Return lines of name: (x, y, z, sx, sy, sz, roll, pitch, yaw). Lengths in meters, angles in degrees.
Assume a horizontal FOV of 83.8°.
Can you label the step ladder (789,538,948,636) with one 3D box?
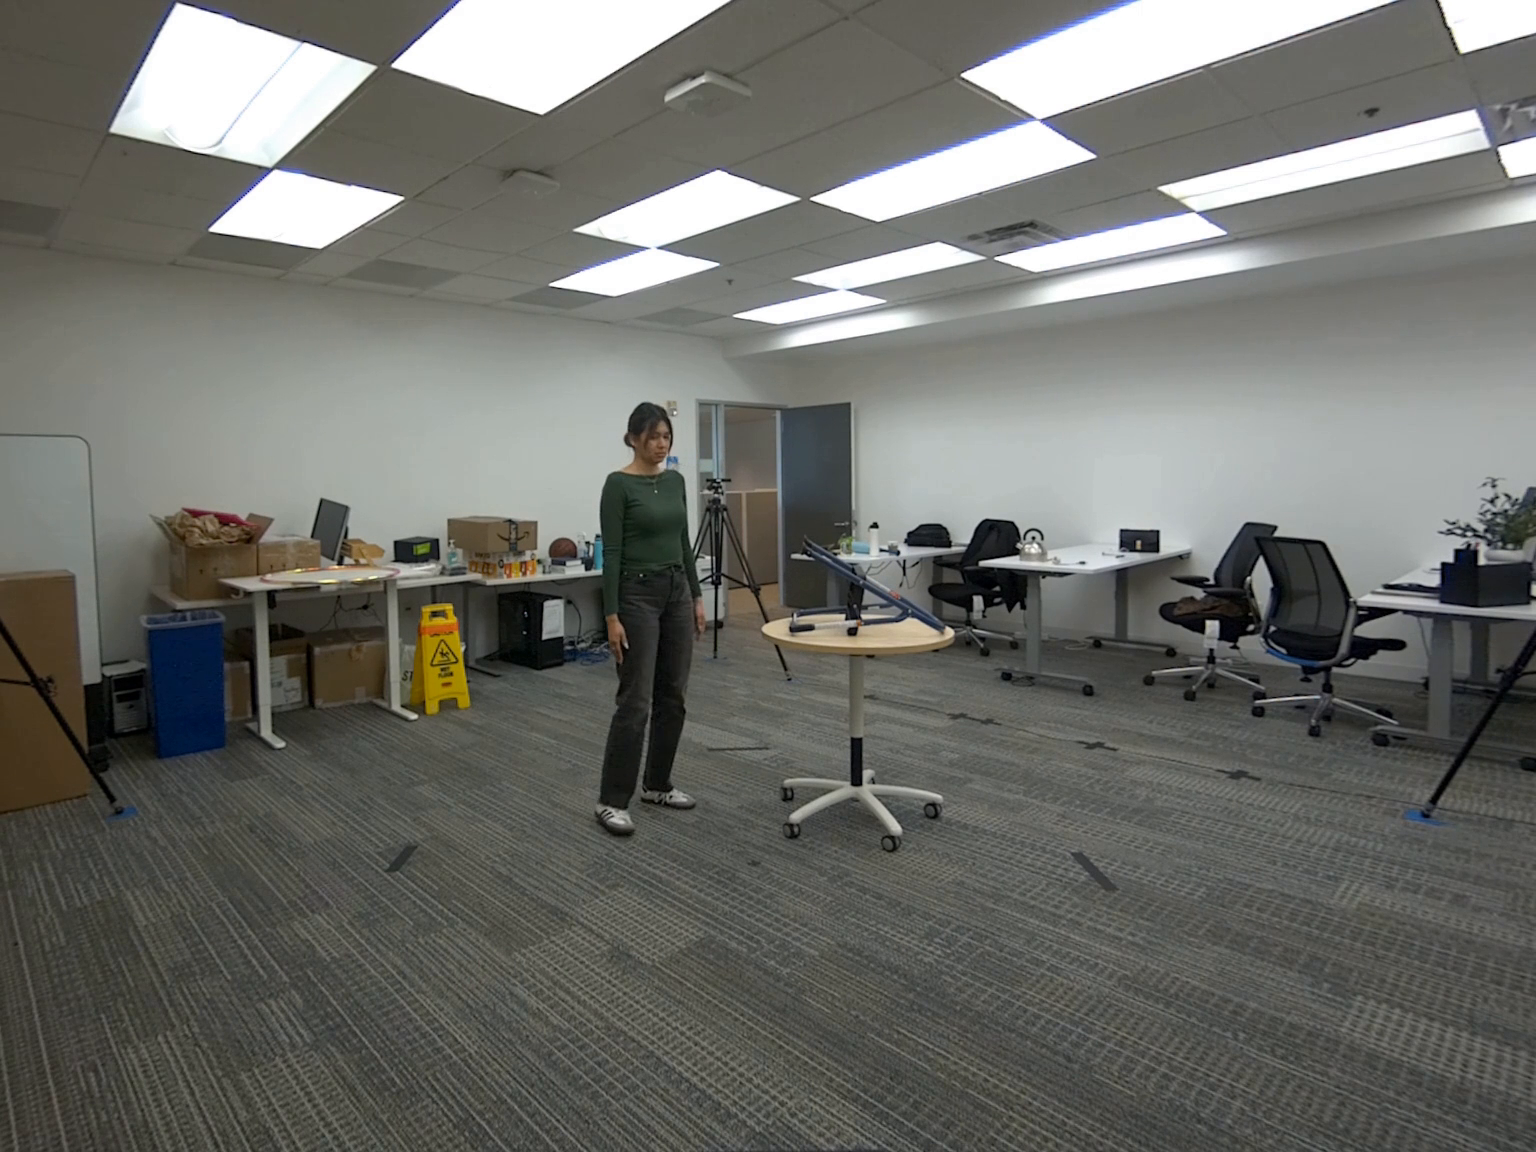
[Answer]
step ladder: (0.414, 0.083, 3.450, 0.610, 0.348, 0.430, 11, 7, 5)
